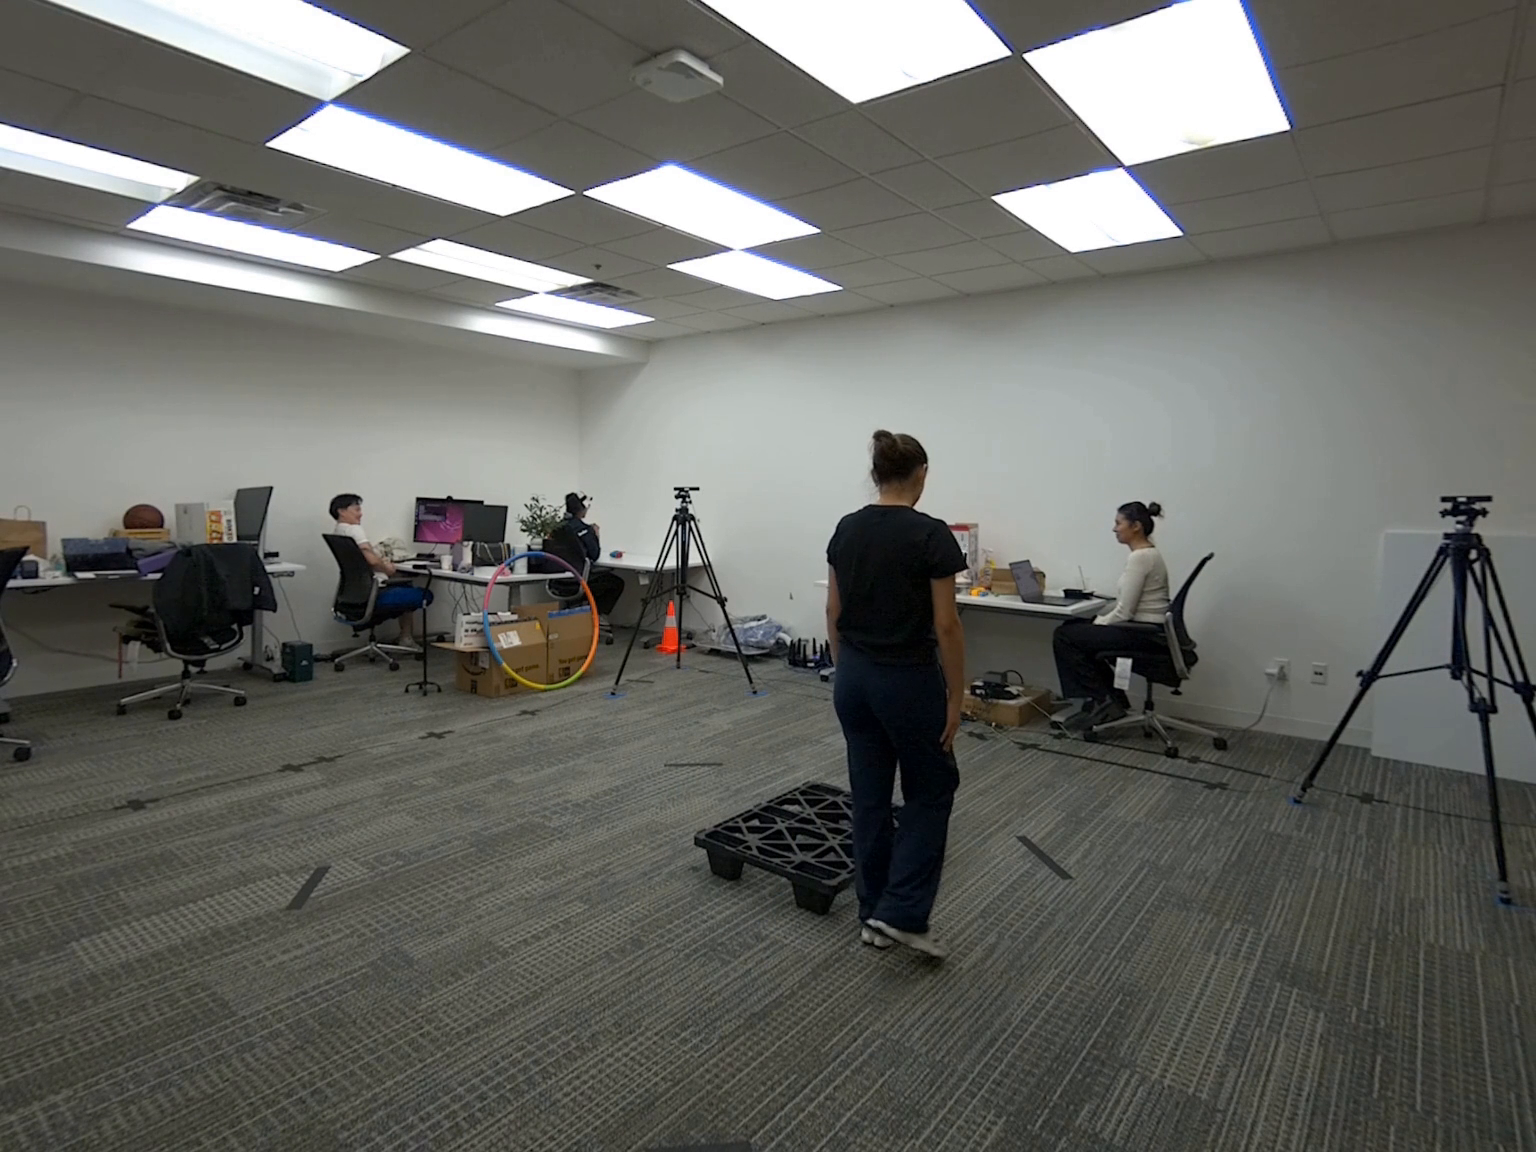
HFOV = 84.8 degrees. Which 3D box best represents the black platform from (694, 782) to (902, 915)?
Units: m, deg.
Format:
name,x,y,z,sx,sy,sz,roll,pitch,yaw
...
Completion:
name,x,y,z,sx,sy,sz,roll,pitch,yaw
black platform,0.206,0.996,3.208,0.625,0.143,0.782,4,6,37
